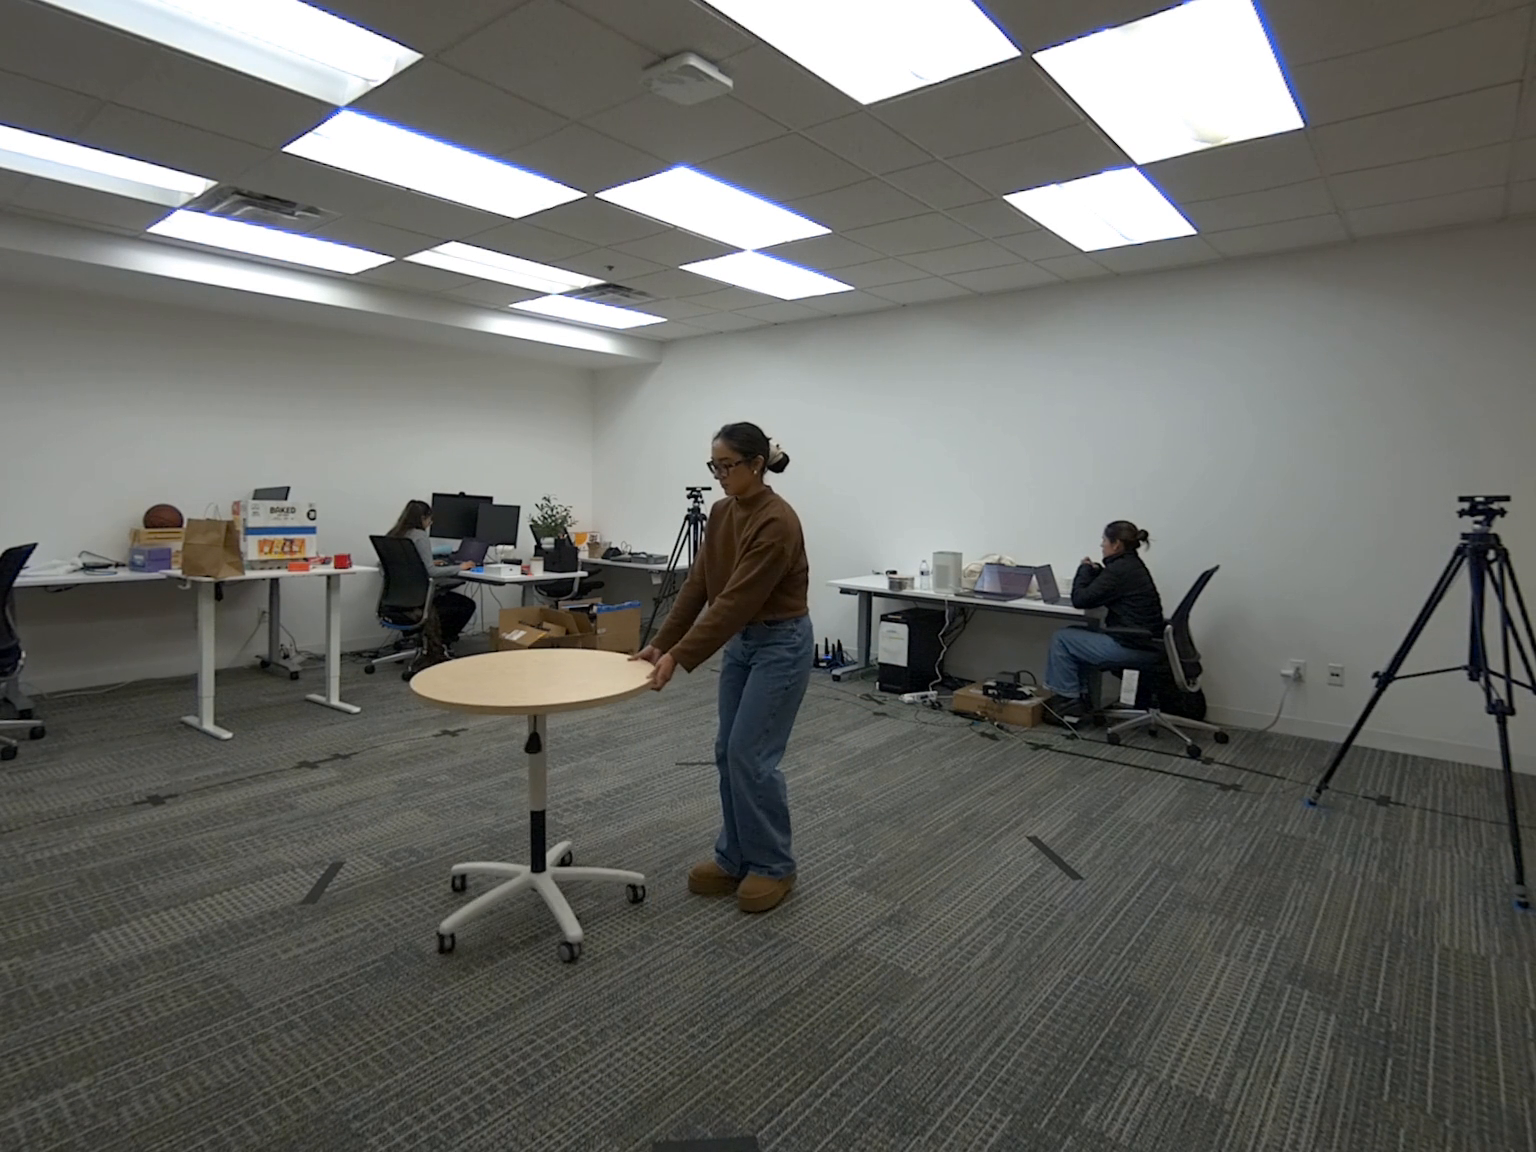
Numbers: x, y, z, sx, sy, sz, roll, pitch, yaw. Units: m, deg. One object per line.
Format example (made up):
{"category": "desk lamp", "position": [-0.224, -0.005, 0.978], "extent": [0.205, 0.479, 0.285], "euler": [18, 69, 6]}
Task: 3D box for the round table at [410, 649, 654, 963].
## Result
{"category": "round table", "position": [-0.729, 0.697, 2.766], "extent": [0.784, 0.783, 0.790], "euler": [0, 5, -2]}
